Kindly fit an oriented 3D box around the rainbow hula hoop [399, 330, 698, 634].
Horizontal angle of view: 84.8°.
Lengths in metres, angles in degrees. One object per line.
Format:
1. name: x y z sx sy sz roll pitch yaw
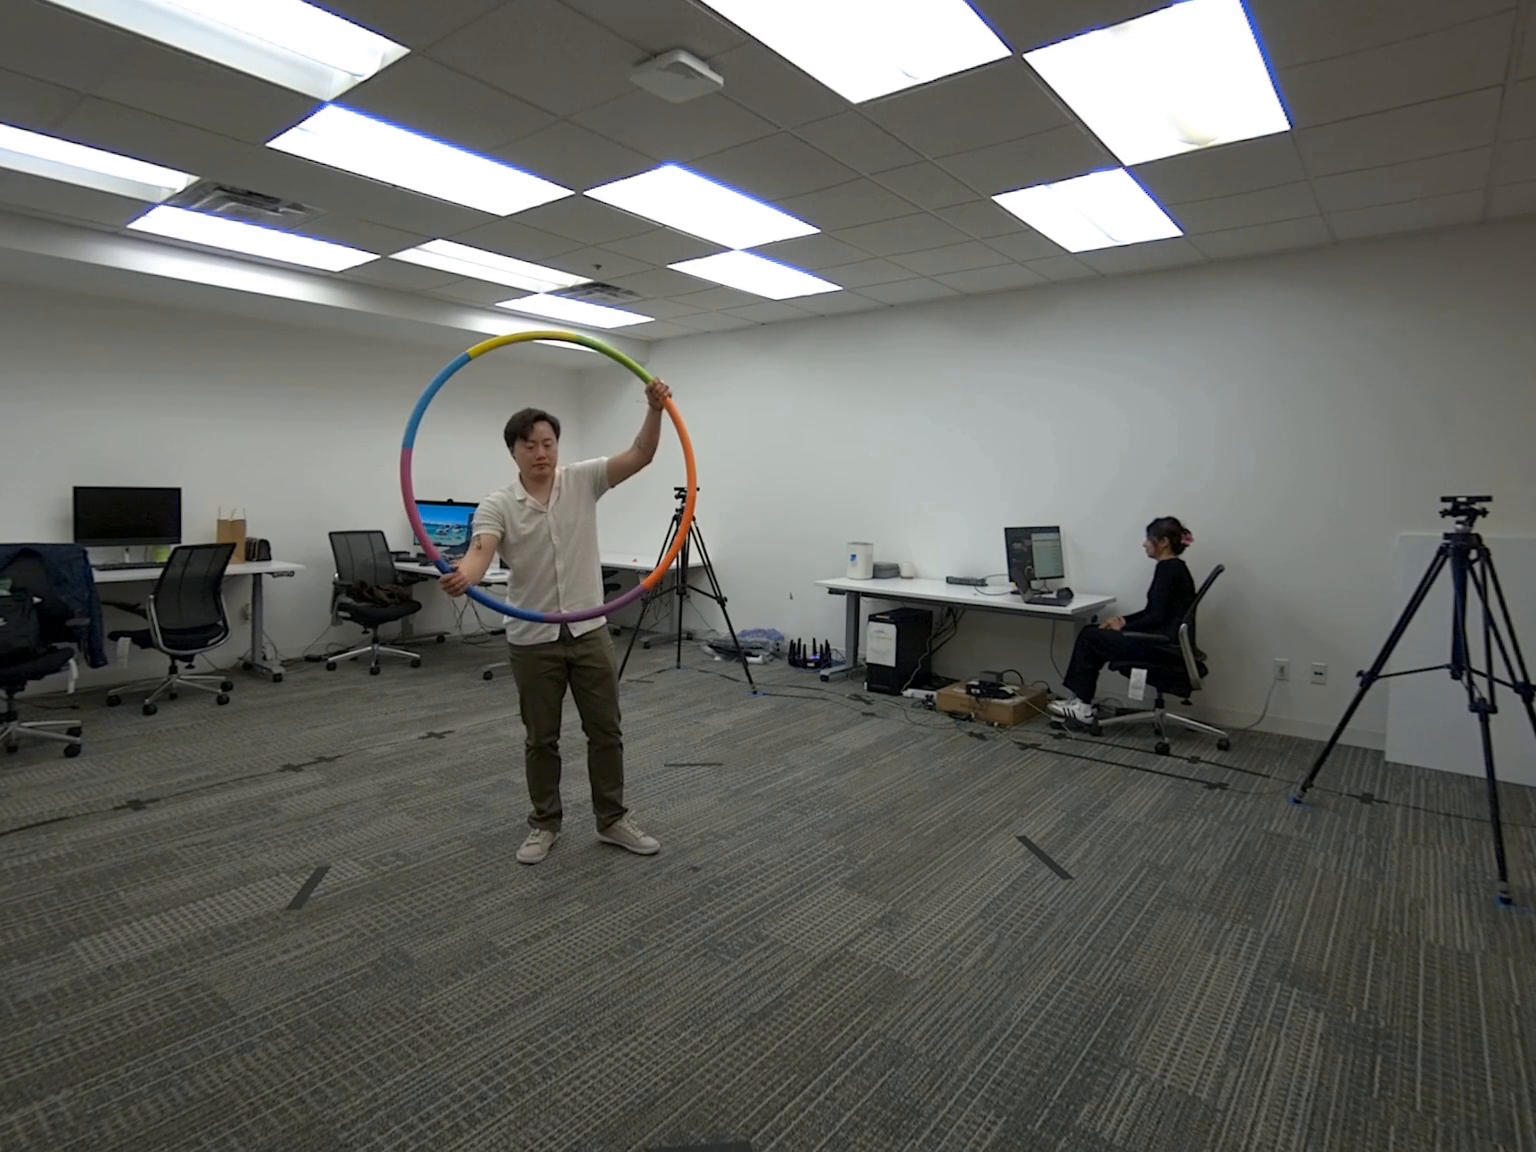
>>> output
1. rainbow hula hoop: -0.691 -0.318 2.824 0.956 0.985 0.036 -1 -7 -23
